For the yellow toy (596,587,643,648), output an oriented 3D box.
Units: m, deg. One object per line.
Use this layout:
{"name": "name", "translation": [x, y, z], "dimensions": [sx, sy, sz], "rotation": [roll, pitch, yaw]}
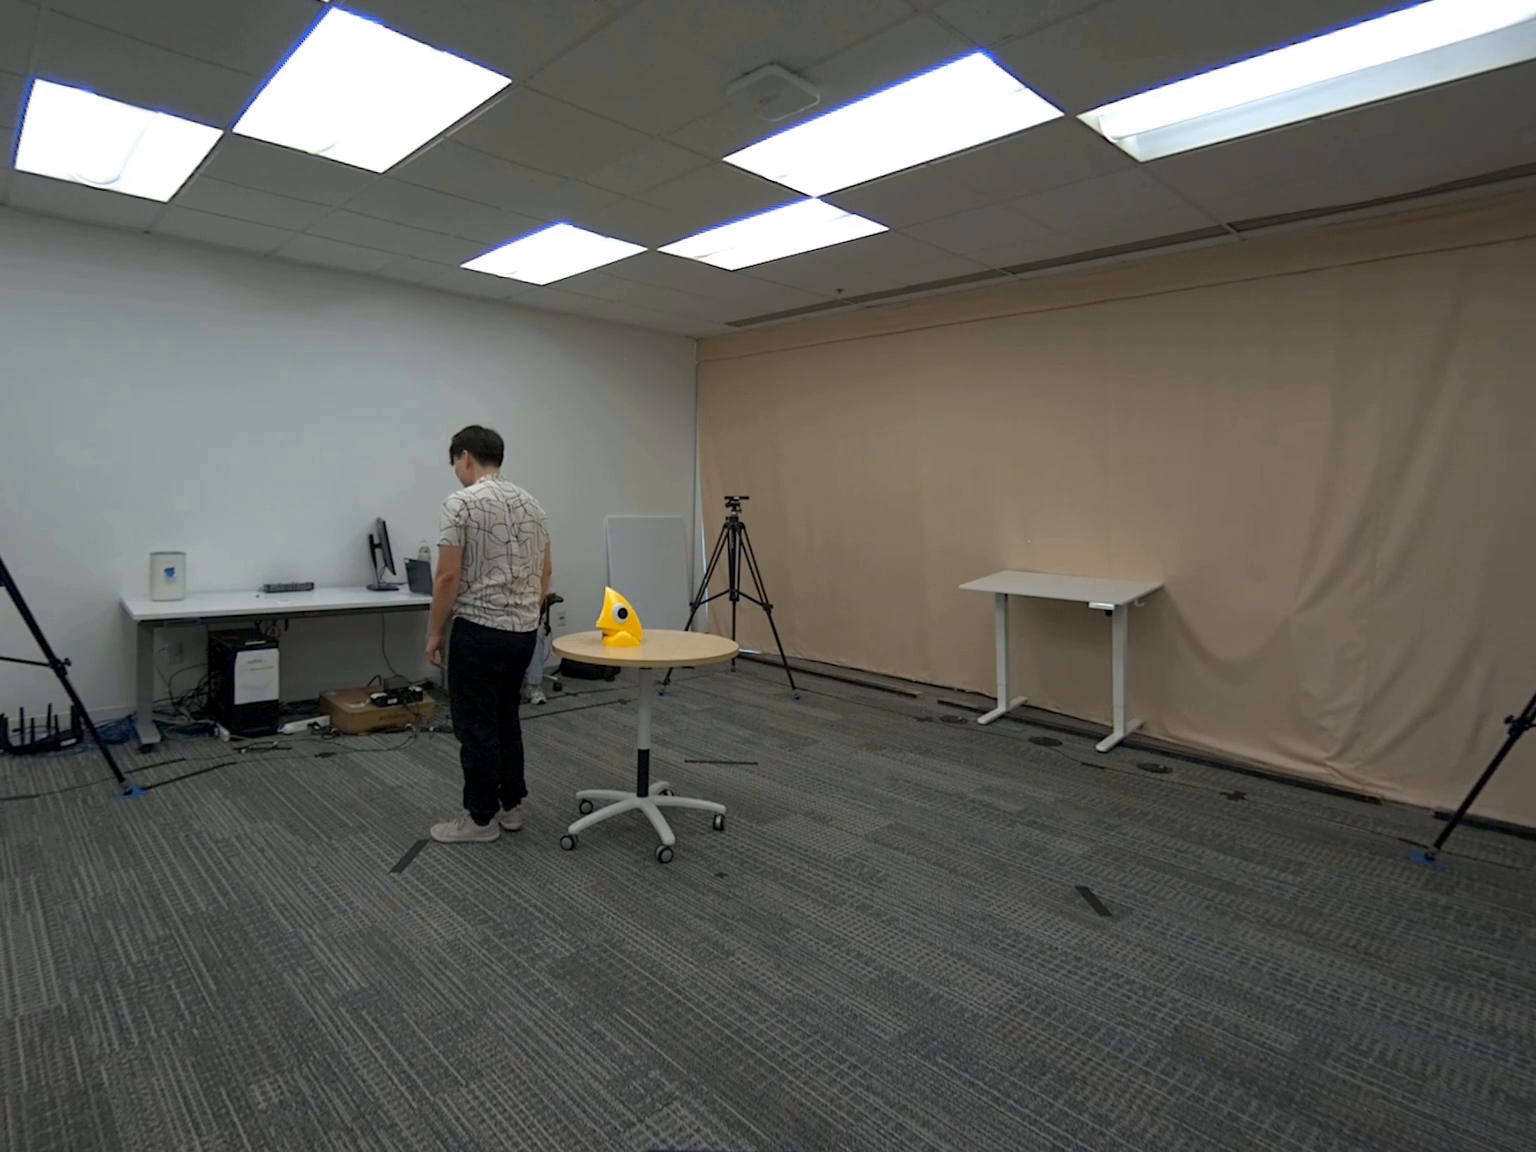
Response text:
{"name": "yellow toy", "translation": [-0.624, 0.160, 3.480], "dimensions": [0.192, 0.230, 0.206], "rotation": [2, 4, -7]}
